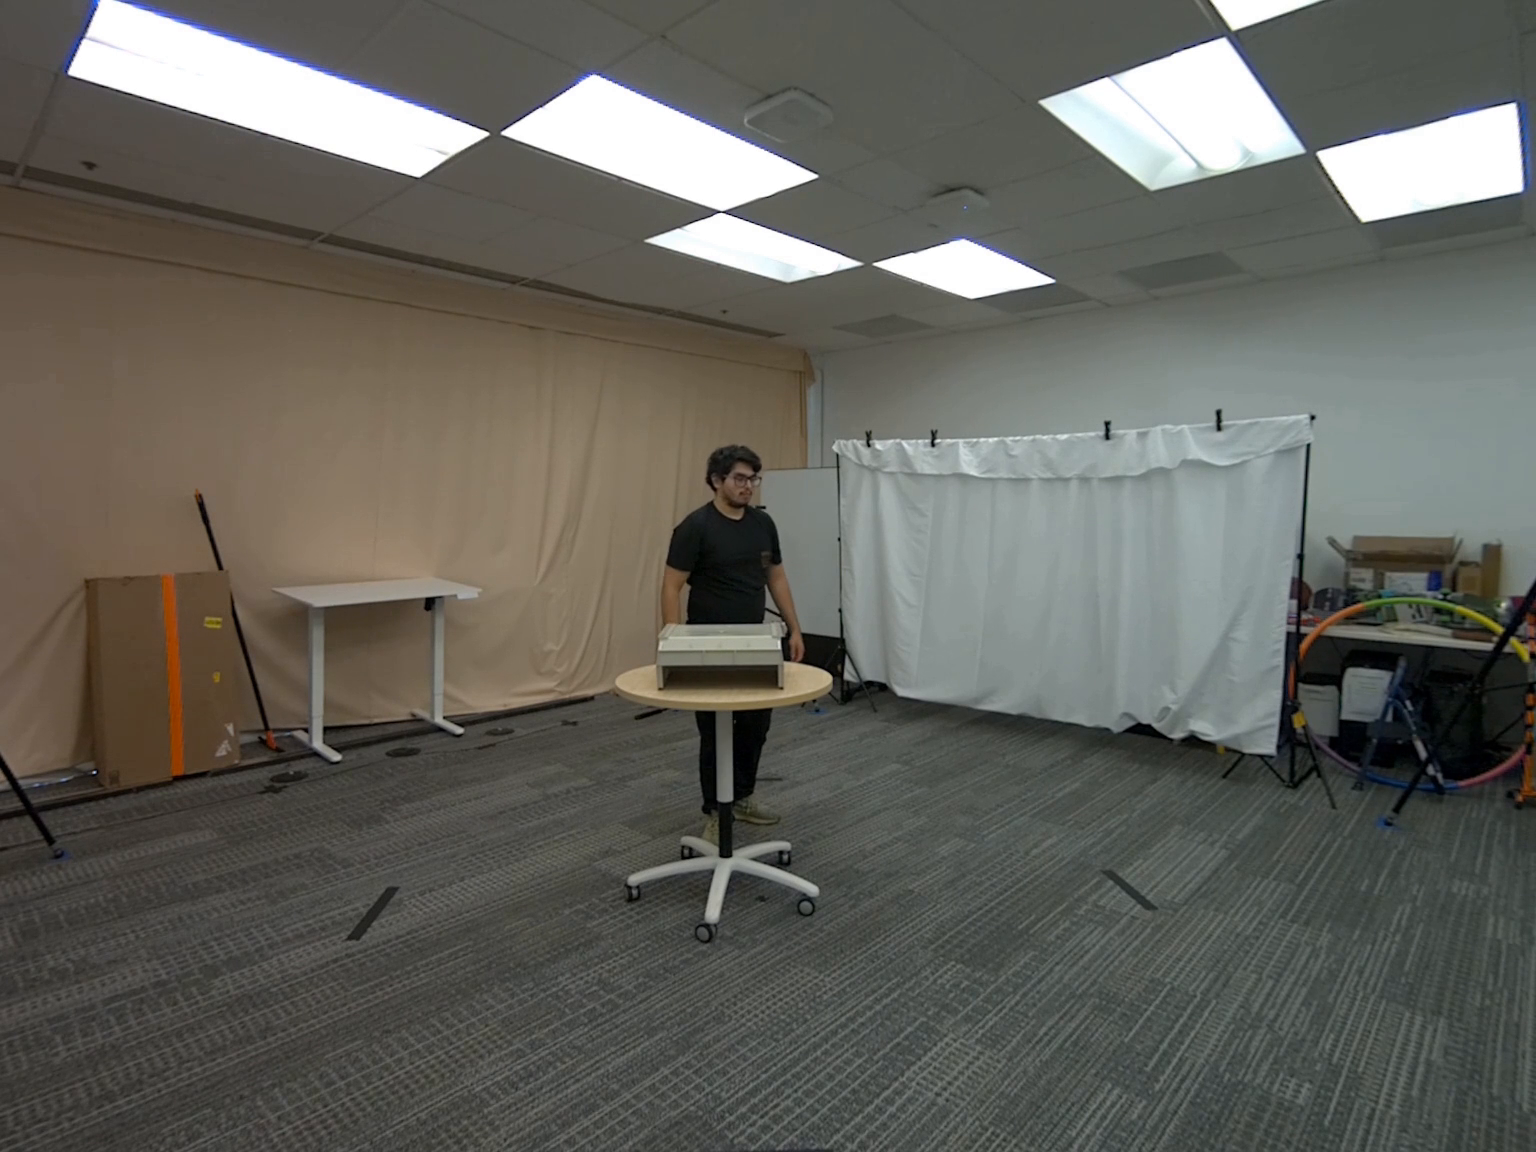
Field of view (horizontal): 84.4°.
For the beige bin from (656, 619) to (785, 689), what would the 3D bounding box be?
[{"bbox_3d":[-0.160,0.270,2.918,0.424,0.188,0.377,1,5,2],"label":"beige bin"}]
